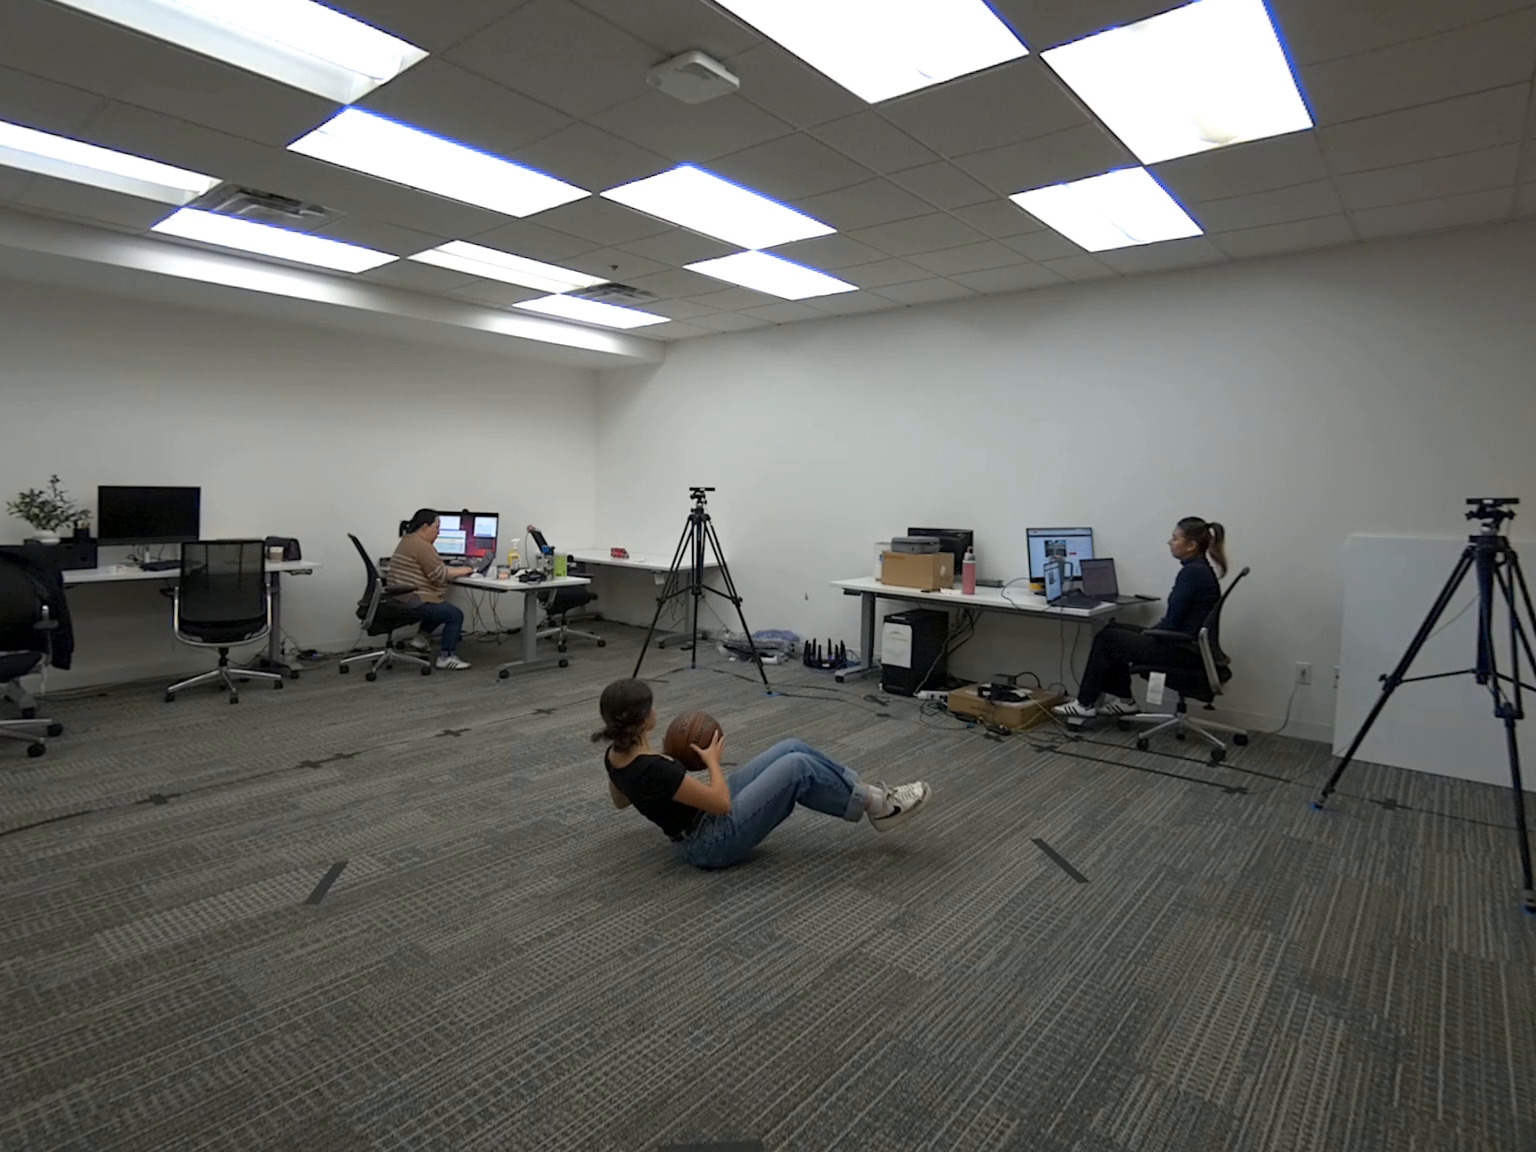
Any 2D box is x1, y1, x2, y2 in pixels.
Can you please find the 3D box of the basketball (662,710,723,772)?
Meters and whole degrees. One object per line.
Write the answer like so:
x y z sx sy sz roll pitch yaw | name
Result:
-0.312 0.671 3.436 0.235 0.235 0.237 1 4 -2 | basketball
